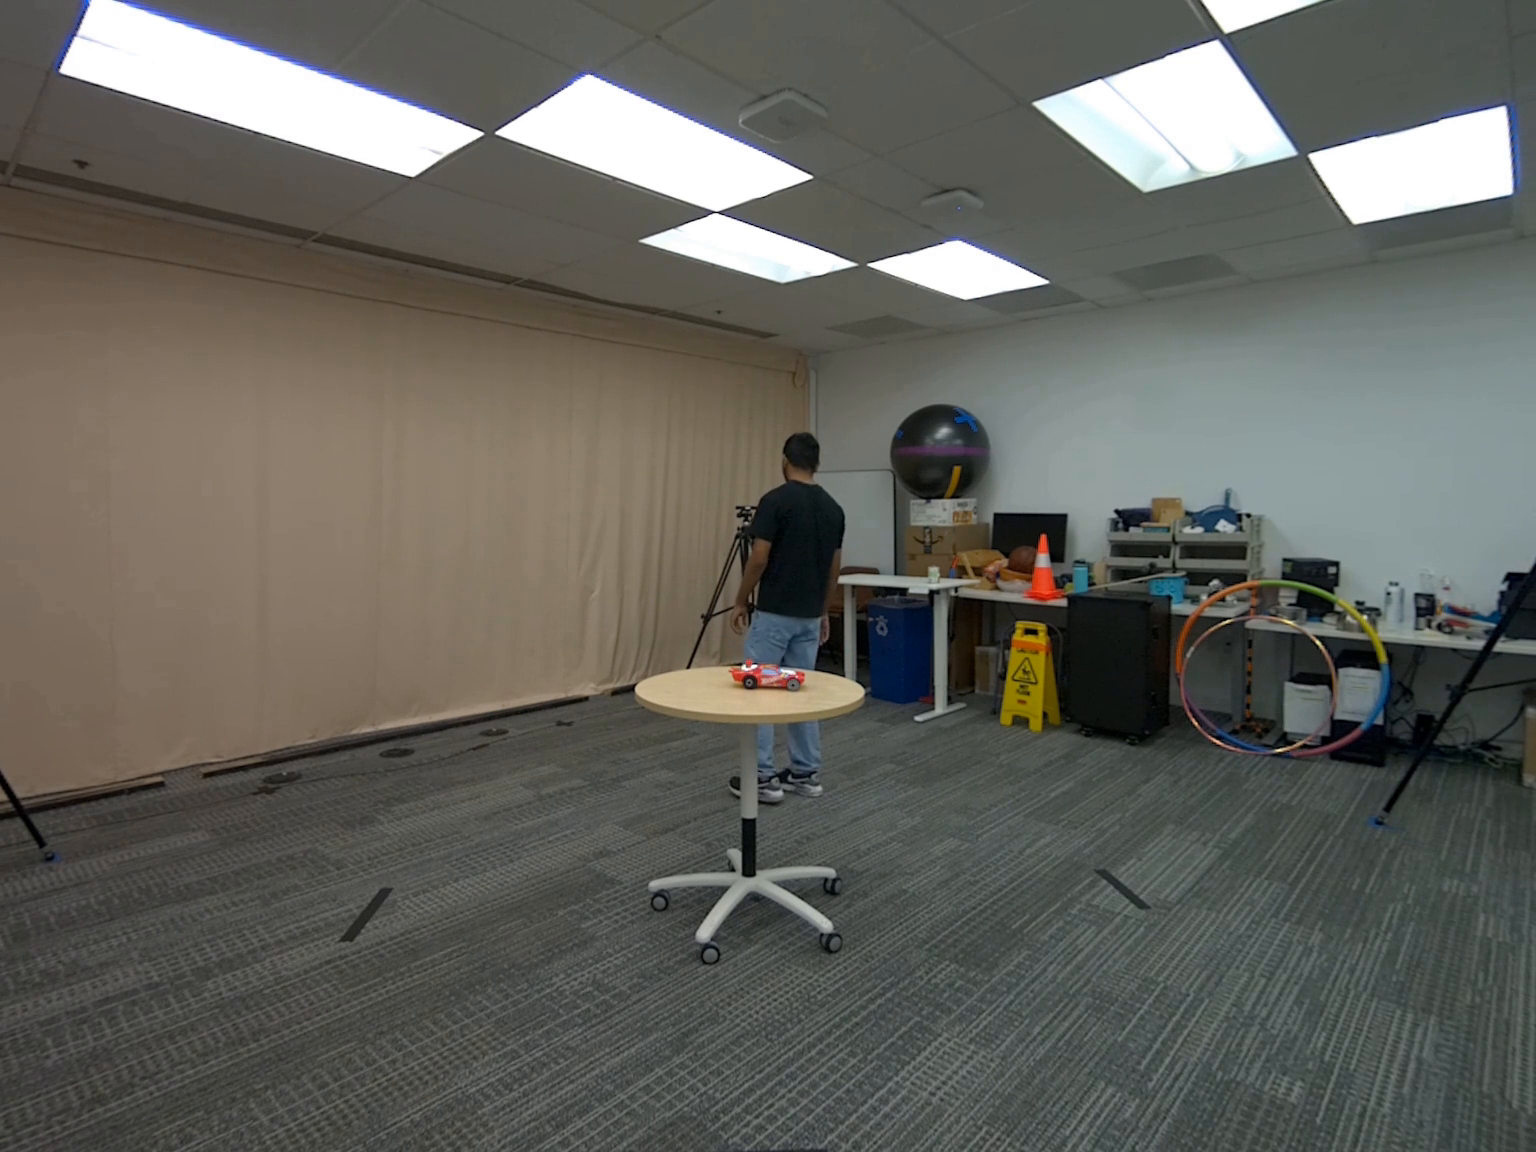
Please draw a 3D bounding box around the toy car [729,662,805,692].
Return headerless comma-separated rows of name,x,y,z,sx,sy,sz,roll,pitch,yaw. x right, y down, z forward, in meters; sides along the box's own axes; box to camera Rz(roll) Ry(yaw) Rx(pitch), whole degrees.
toy car,-0.007,0.340,2.840,0.257,0.083,0.129,11,5,7
